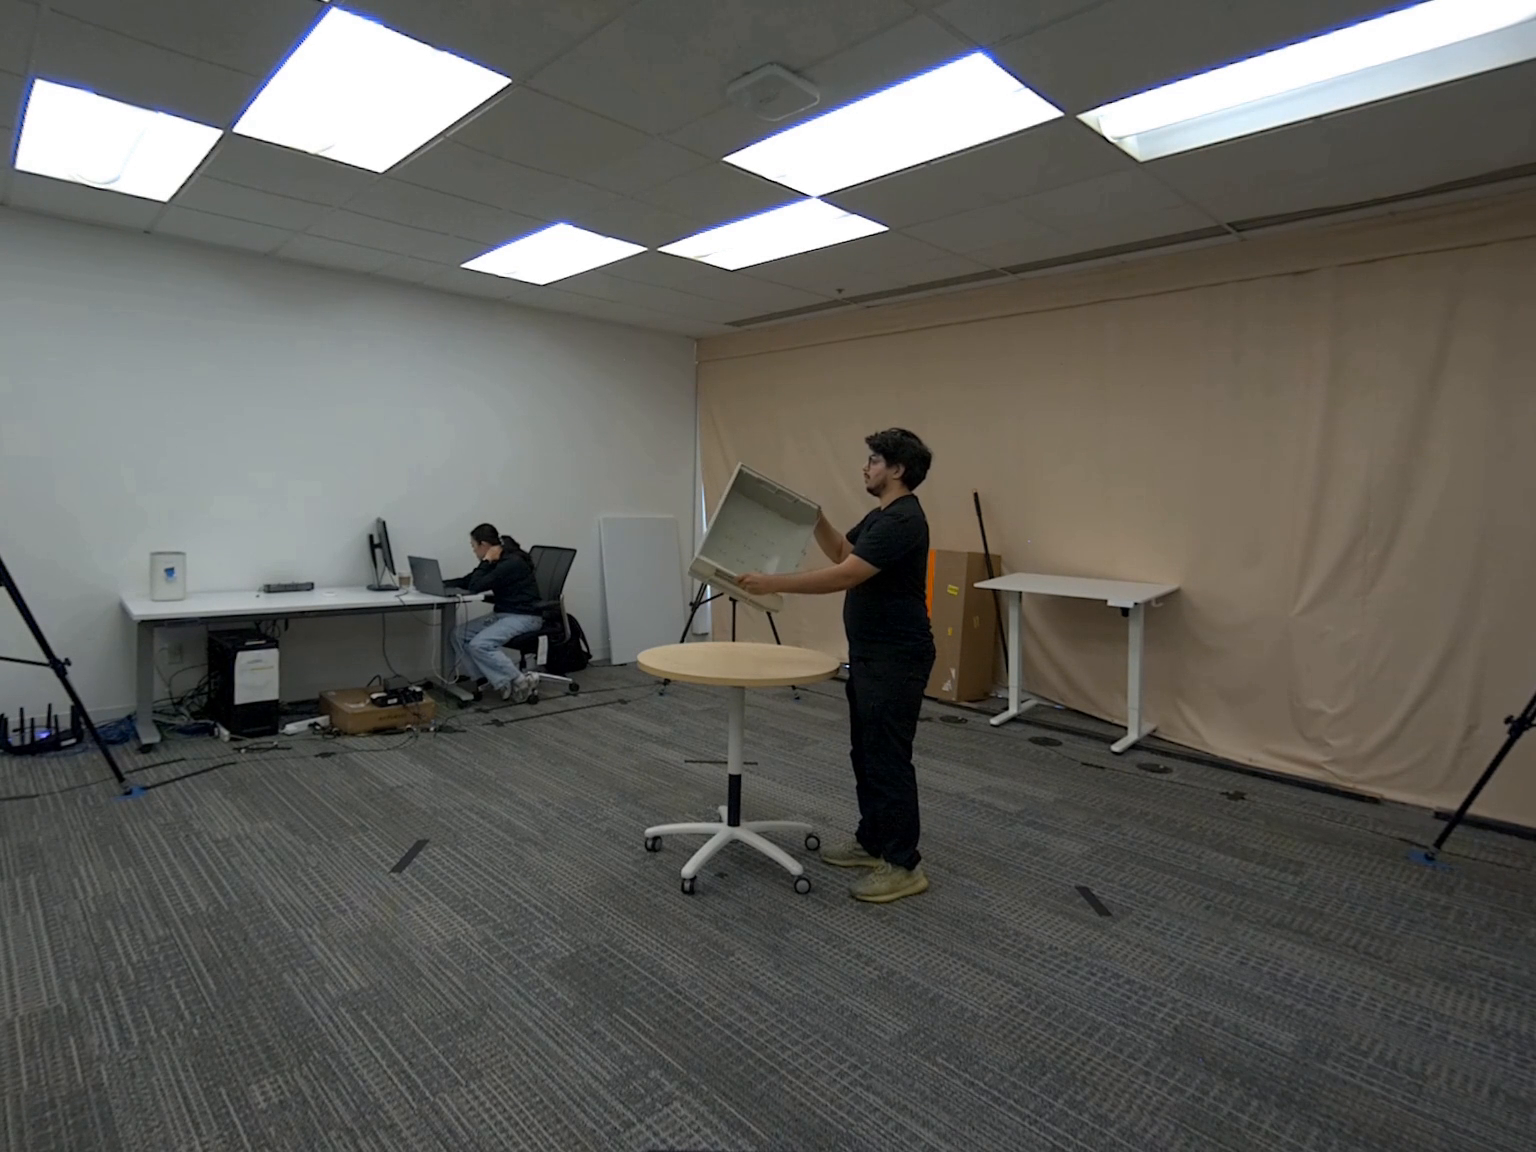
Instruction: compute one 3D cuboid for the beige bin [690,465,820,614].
[{"bbox_3d":[-0.042,-0.125,3.080,0.375,0.426,0.188,26,-26,-6],"label":"beige bin"}]
